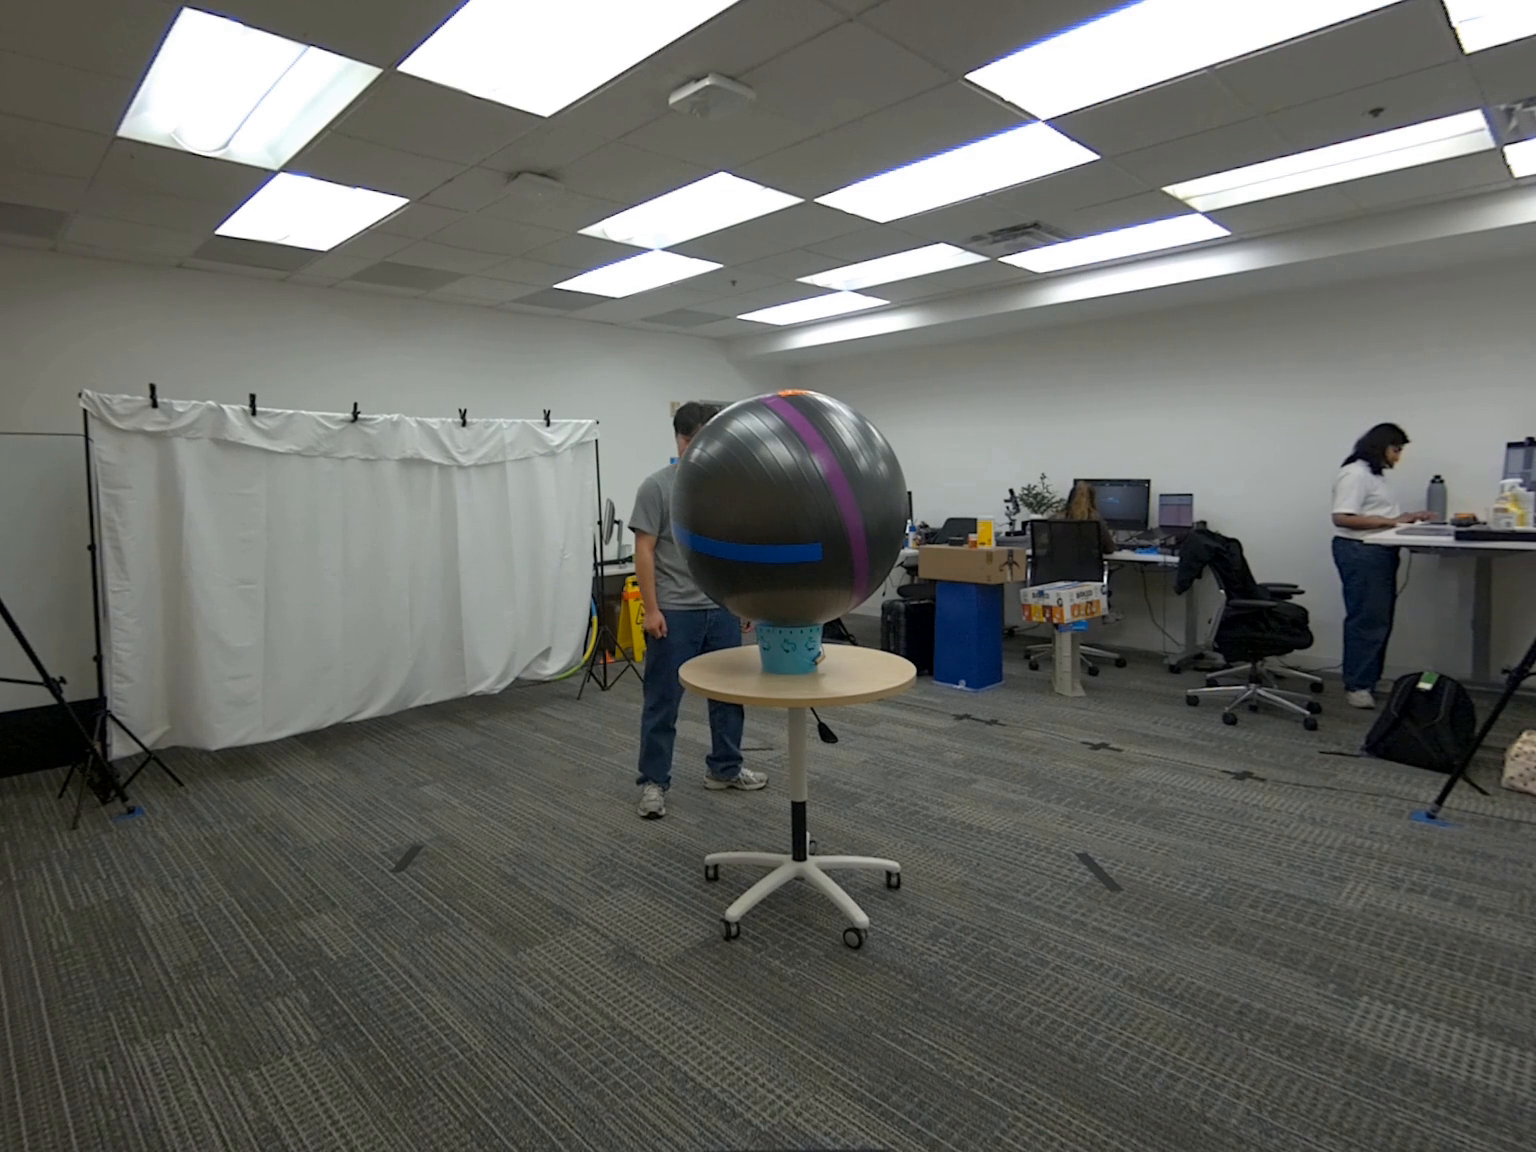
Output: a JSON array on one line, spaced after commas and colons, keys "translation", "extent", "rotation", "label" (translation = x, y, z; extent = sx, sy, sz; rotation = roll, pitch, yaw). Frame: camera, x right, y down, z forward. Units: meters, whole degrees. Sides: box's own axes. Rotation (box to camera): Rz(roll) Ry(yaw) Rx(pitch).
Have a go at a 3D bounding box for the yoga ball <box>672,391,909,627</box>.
[{"translation": [0.065, -0.209, 2.738], "extent": [0.757, 0.755, 0.762], "rotation": [-1, 5, -2], "label": "yoga ball"}]
